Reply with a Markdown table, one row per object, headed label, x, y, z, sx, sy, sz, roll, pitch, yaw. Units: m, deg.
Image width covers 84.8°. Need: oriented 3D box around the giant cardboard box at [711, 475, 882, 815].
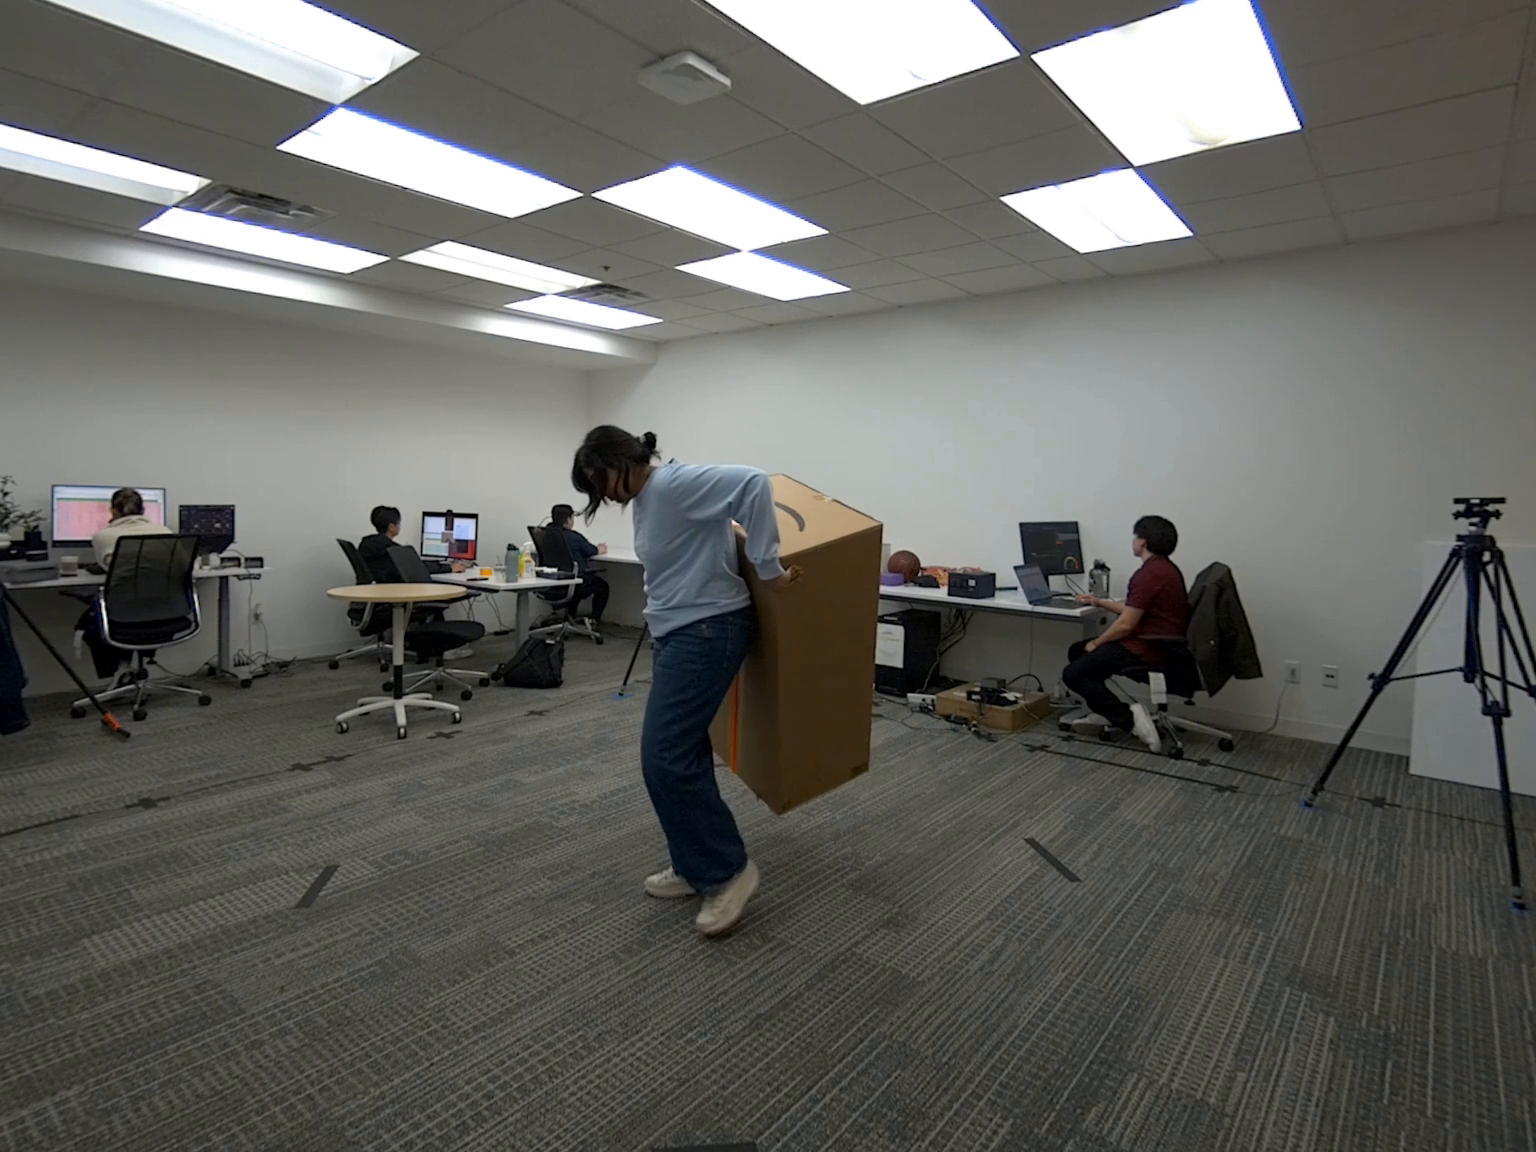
| label | x | y | z | sx | sy | sz | roll | pitch | yaw |
| --- | --- | --- | --- | --- | --- | --- | --- | --- | --- |
| giant cardboard box | 0.035 | 0.228 | 3.085 | 0.418 | 1.002 | 0.602 | -17 | 30 | -30 |
